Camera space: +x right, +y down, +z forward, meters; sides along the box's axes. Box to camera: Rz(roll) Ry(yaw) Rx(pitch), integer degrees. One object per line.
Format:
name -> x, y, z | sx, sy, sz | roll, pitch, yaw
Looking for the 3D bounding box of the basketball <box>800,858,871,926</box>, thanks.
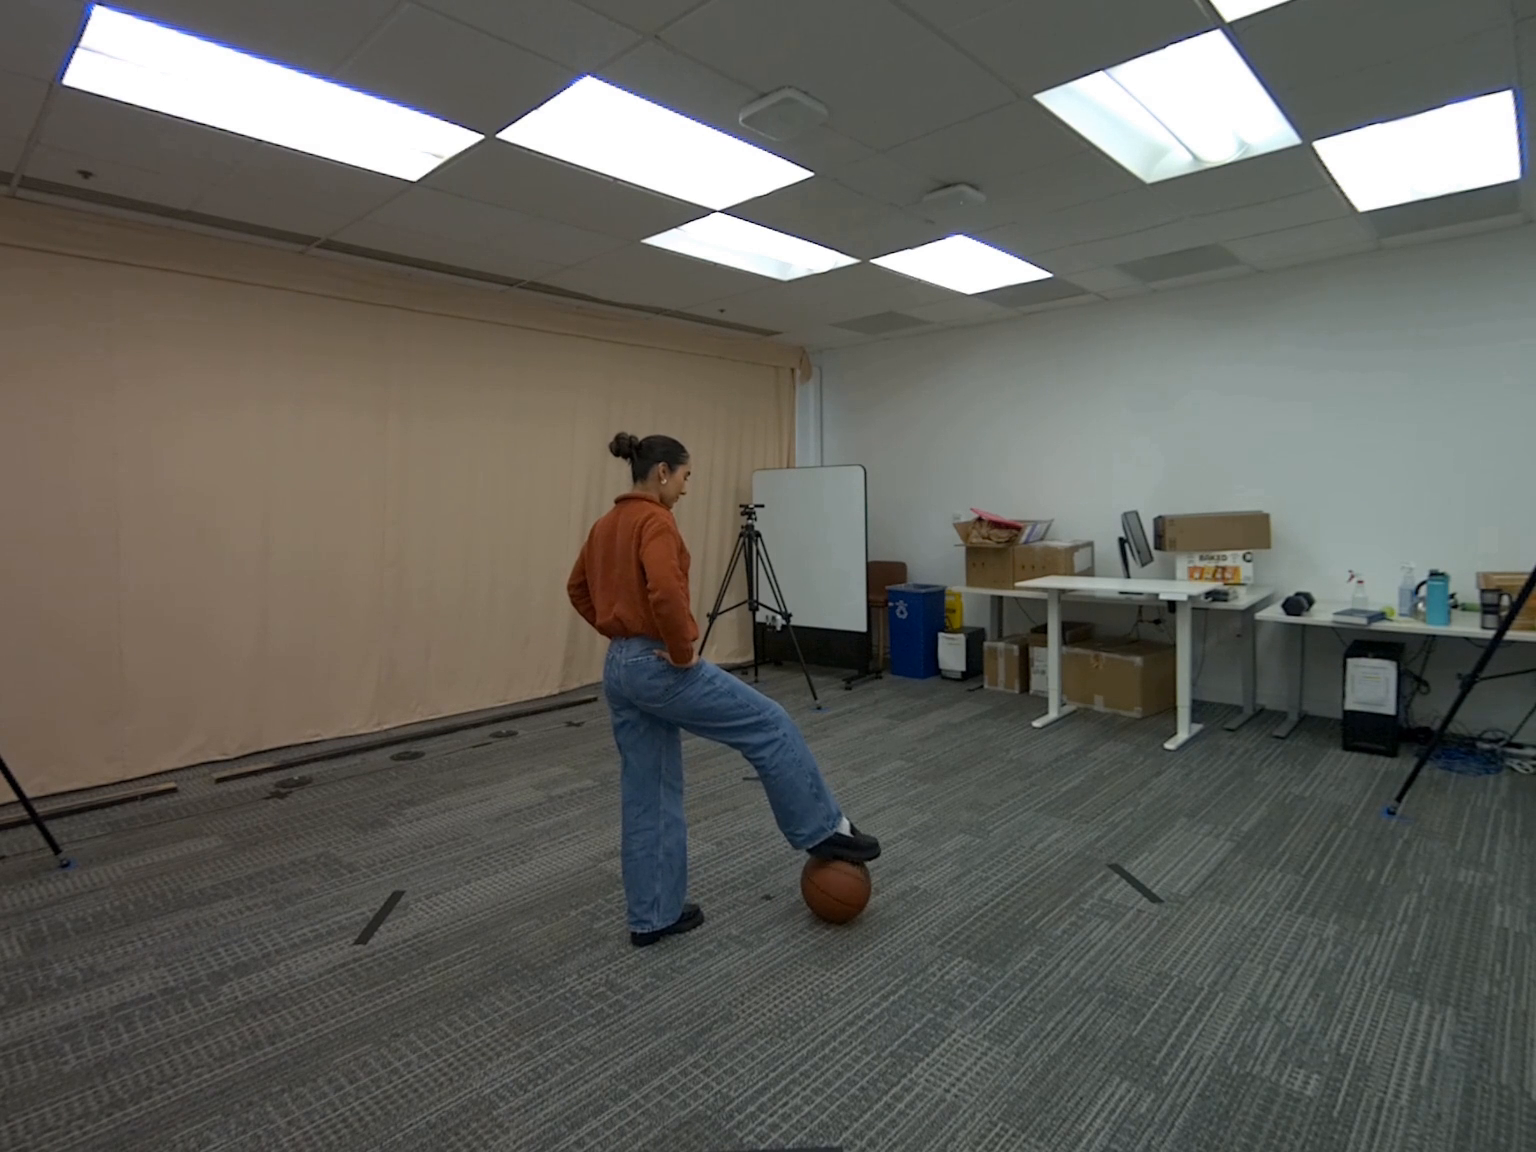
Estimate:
basketball -> 0.231, 1.032, 2.821 | 0.236, 0.235, 0.237 | -1, 4, -2
